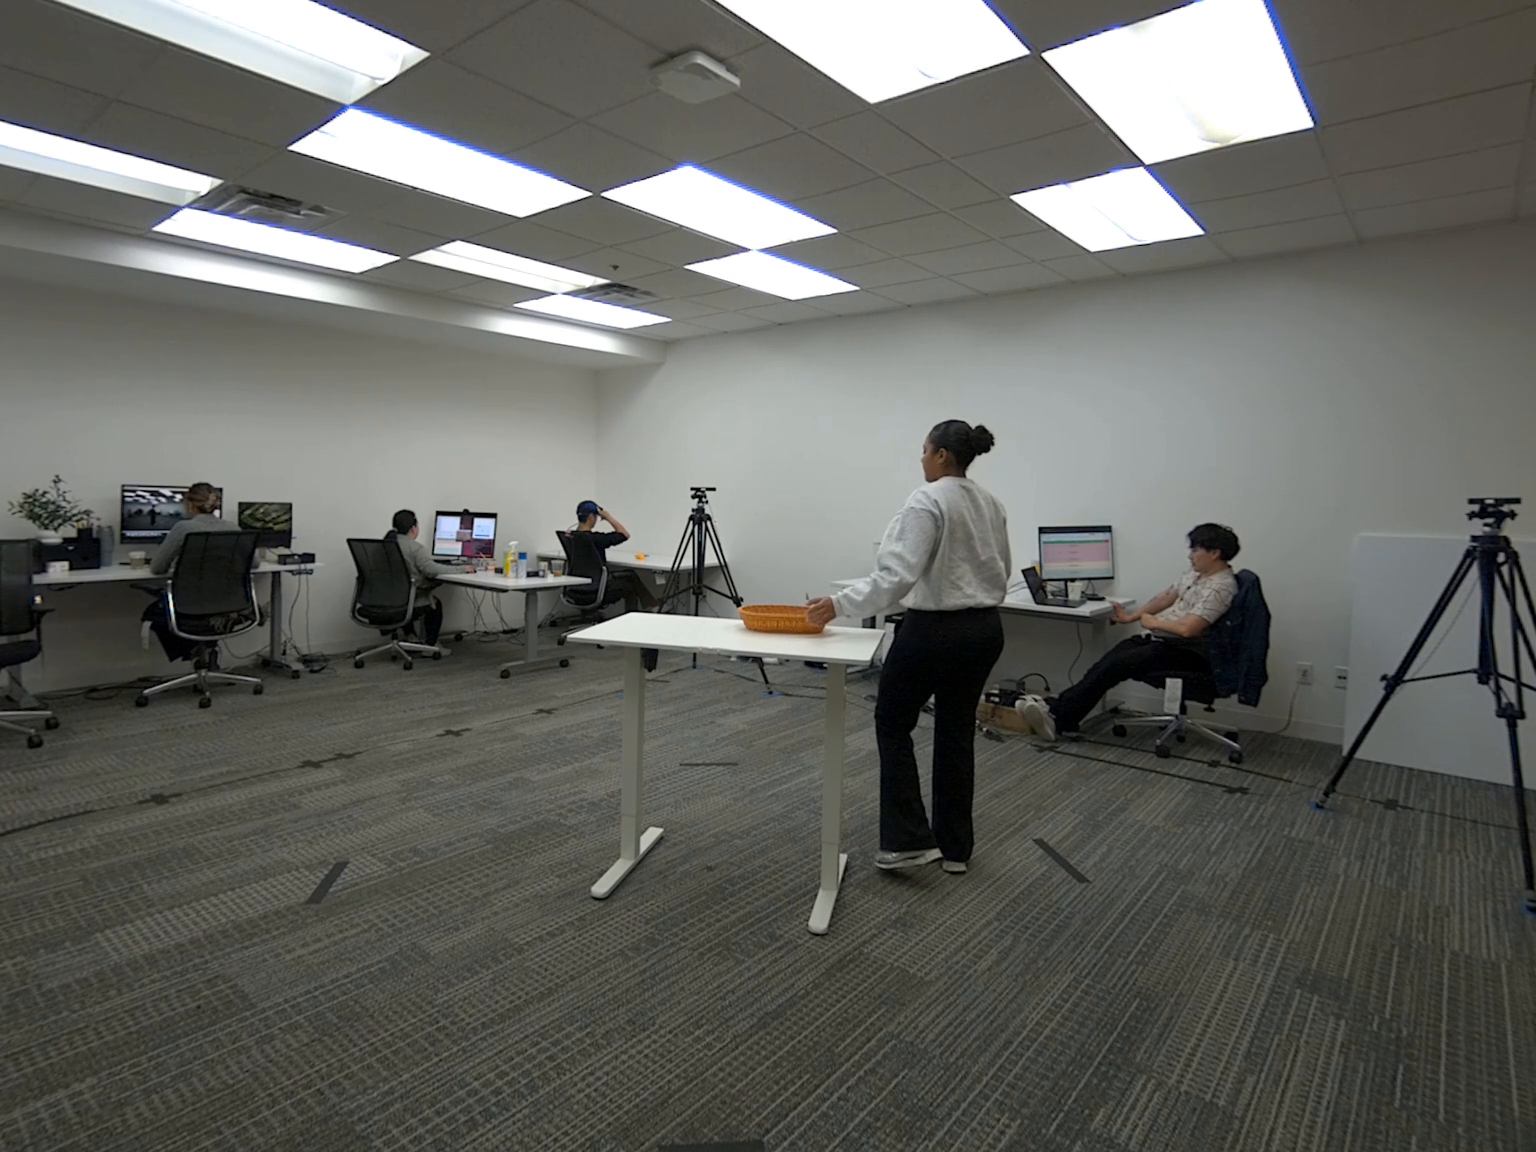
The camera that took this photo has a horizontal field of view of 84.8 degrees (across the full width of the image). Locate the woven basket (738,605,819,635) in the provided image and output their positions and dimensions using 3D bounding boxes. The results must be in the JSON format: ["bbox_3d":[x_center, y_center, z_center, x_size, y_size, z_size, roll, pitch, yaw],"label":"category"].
[{"bbox_3d":[0.055,0.163,3.092,0.356,0.073,0.249,3,6,13],"label":"woven basket"}]
